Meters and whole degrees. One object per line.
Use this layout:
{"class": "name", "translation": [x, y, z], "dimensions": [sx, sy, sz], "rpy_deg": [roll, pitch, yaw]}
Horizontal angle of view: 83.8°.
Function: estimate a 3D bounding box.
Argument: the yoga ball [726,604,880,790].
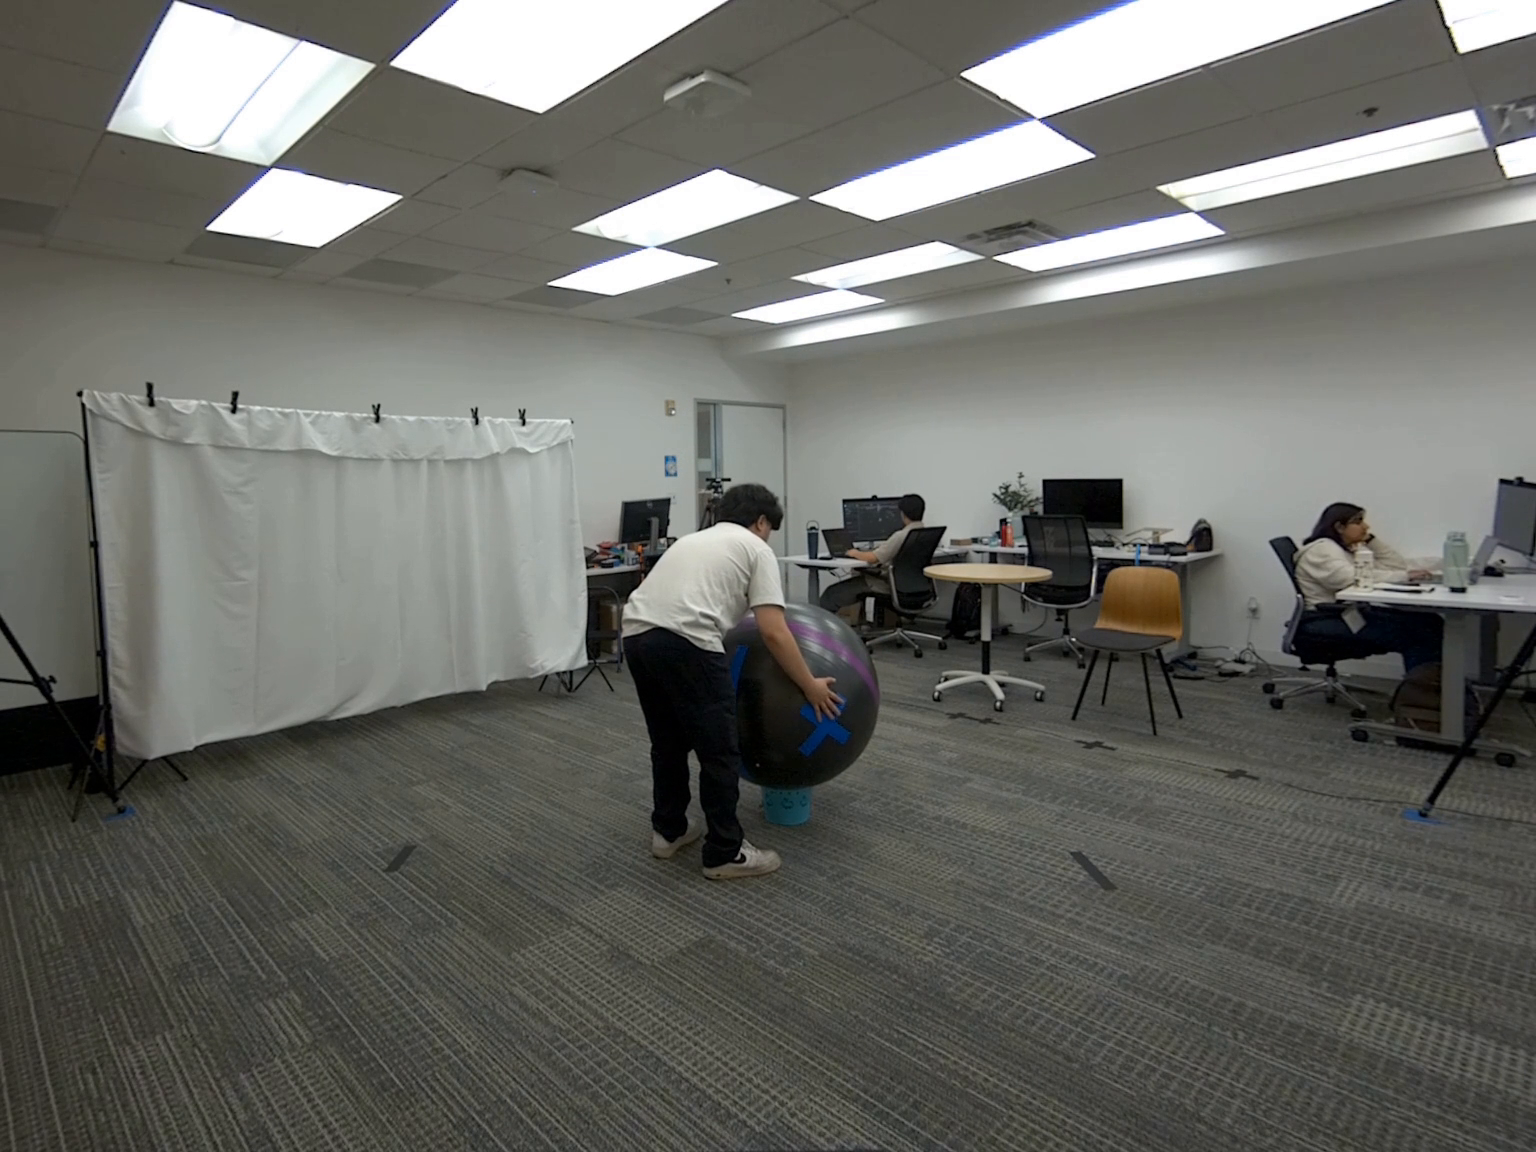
{"class": "yoga ball", "translation": [0.077, 0.488, 3.502], "dimensions": [0.757, 0.755, 0.762], "rpy_deg": [-1, 5, -2]}
